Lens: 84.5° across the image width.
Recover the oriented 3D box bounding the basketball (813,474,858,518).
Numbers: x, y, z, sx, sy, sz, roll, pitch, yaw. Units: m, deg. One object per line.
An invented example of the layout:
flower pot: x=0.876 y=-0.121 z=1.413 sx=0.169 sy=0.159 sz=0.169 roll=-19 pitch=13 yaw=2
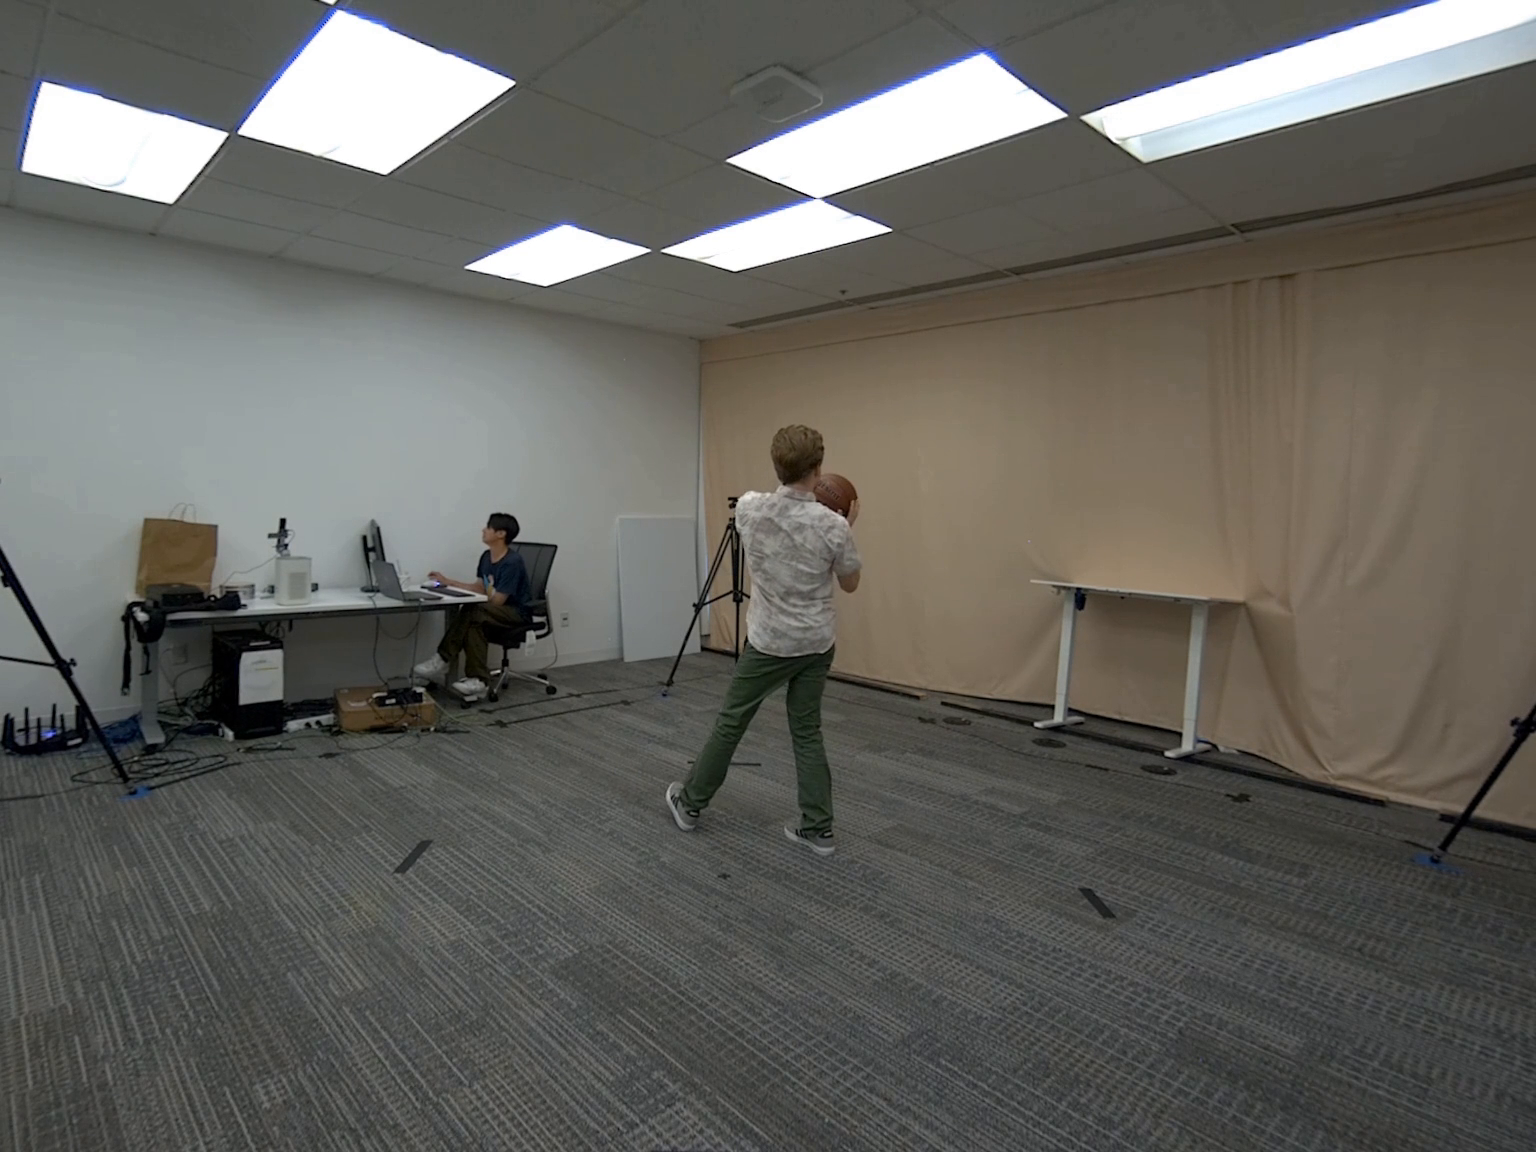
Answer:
basketball: x=0.258 y=-0.330 z=3.684 sx=0.236 sy=0.235 sz=0.237 roll=1 pitch=4 yaw=-1
